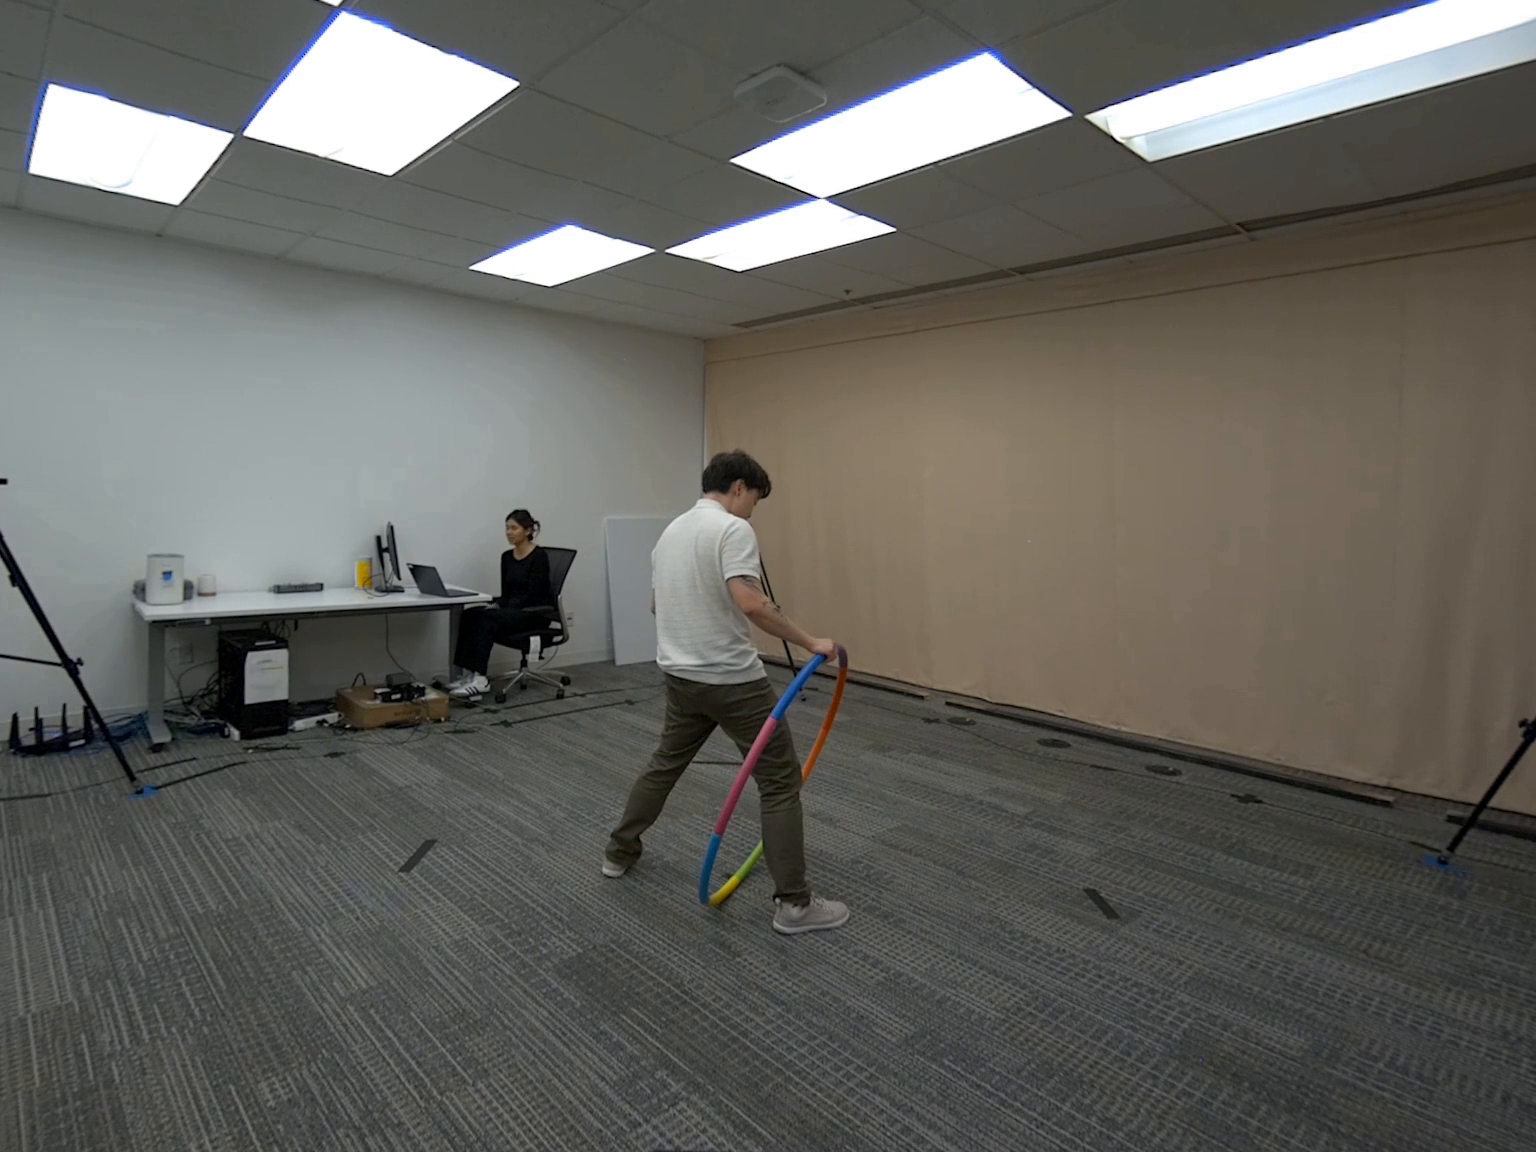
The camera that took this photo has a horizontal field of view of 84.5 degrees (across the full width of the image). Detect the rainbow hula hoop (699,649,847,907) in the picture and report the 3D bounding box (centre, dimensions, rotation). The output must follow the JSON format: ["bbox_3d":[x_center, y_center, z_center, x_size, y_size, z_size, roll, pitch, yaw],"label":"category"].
[{"bbox_3d":[0.028,0.675,2.898,0.036,0.974,0.965,27,13,17],"label":"rainbow hula hoop"}]
